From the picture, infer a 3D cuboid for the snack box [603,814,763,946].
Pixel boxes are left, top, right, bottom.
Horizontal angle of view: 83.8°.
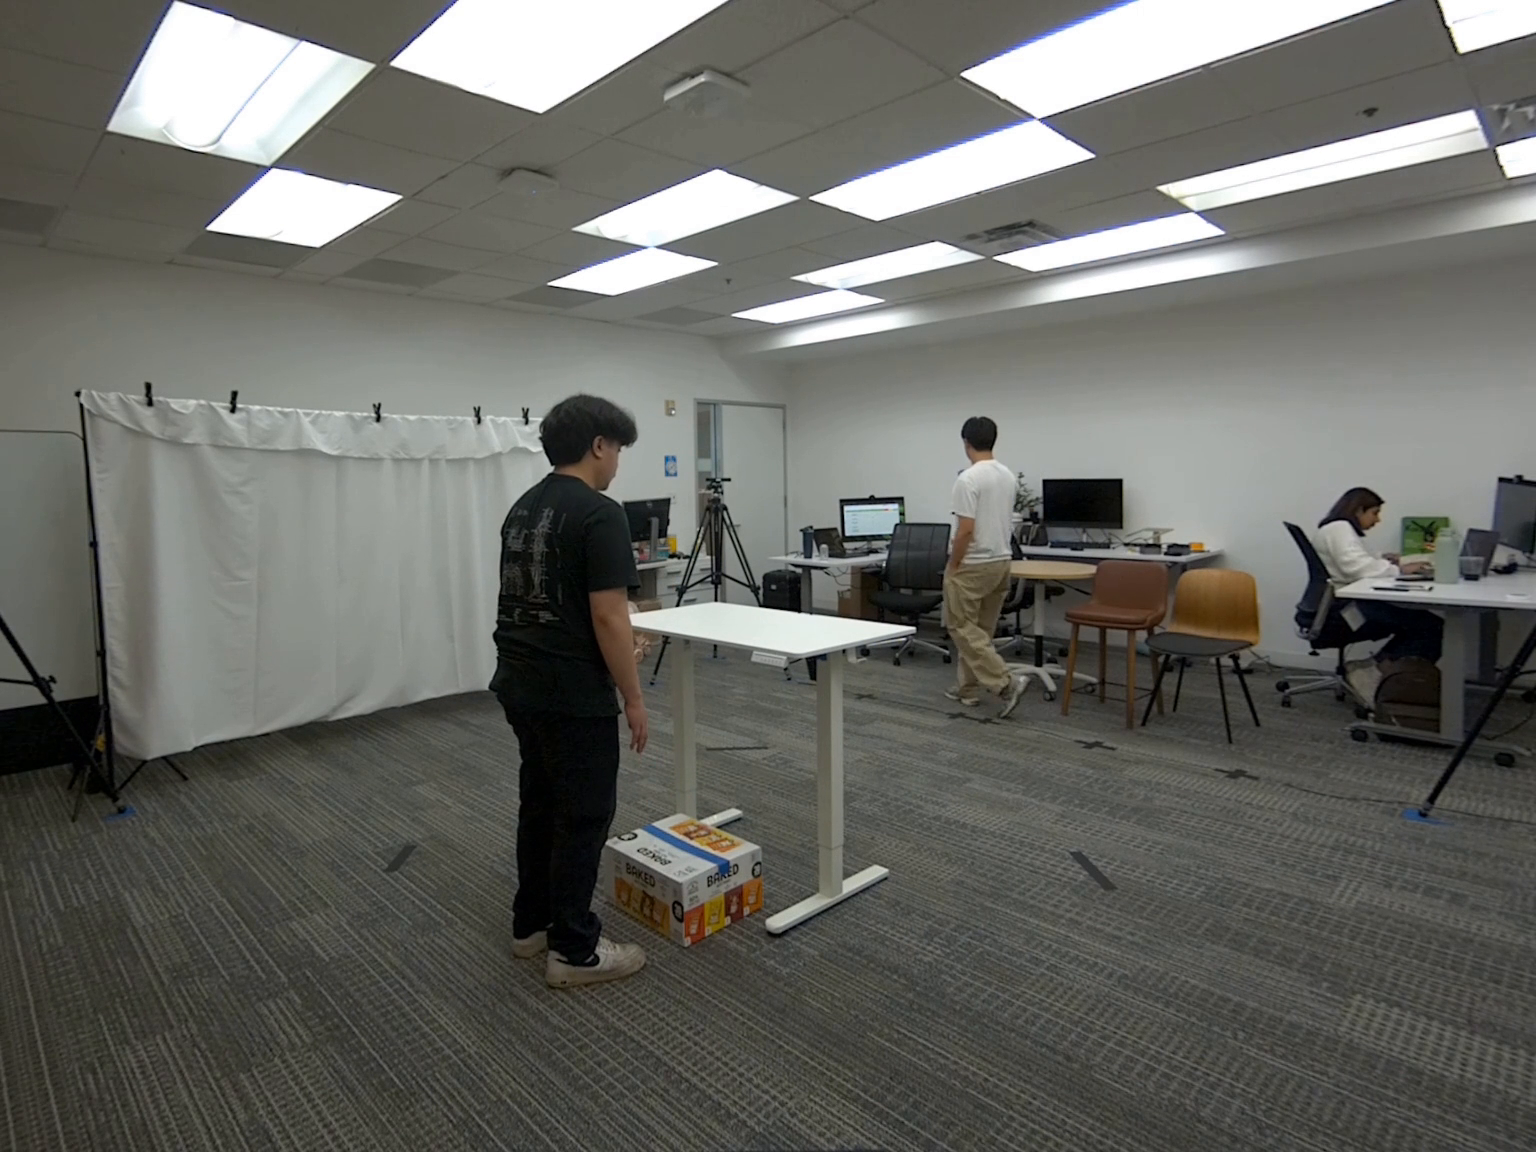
[{"bbox_3d":[-0.281,0.983,2.801,0.331,0.205,0.418,-6,8,-45],"label":"snack box"}]
